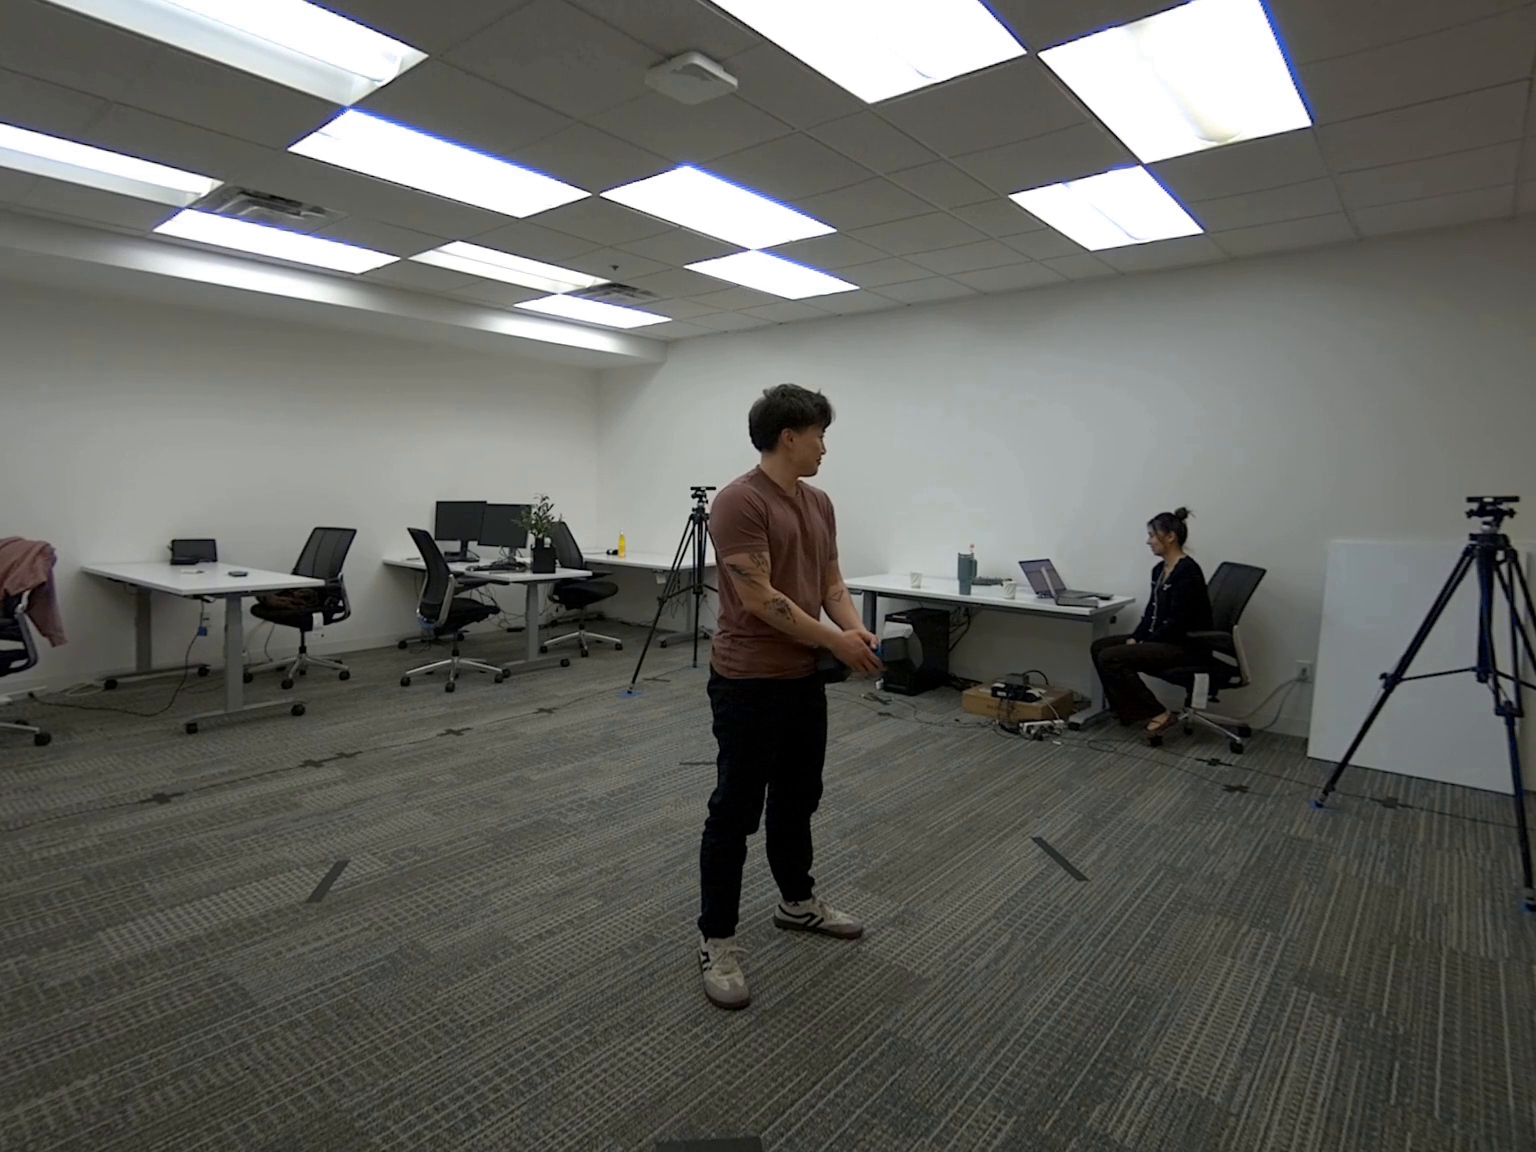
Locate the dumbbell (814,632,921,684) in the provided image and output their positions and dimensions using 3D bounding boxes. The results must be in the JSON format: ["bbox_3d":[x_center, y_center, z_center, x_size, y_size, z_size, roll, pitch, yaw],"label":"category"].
[{"bbox_3d":[0.271,0.221,2.359,0.300,0.110,0.118,-13,-50,35],"label":"dumbbell"}]
